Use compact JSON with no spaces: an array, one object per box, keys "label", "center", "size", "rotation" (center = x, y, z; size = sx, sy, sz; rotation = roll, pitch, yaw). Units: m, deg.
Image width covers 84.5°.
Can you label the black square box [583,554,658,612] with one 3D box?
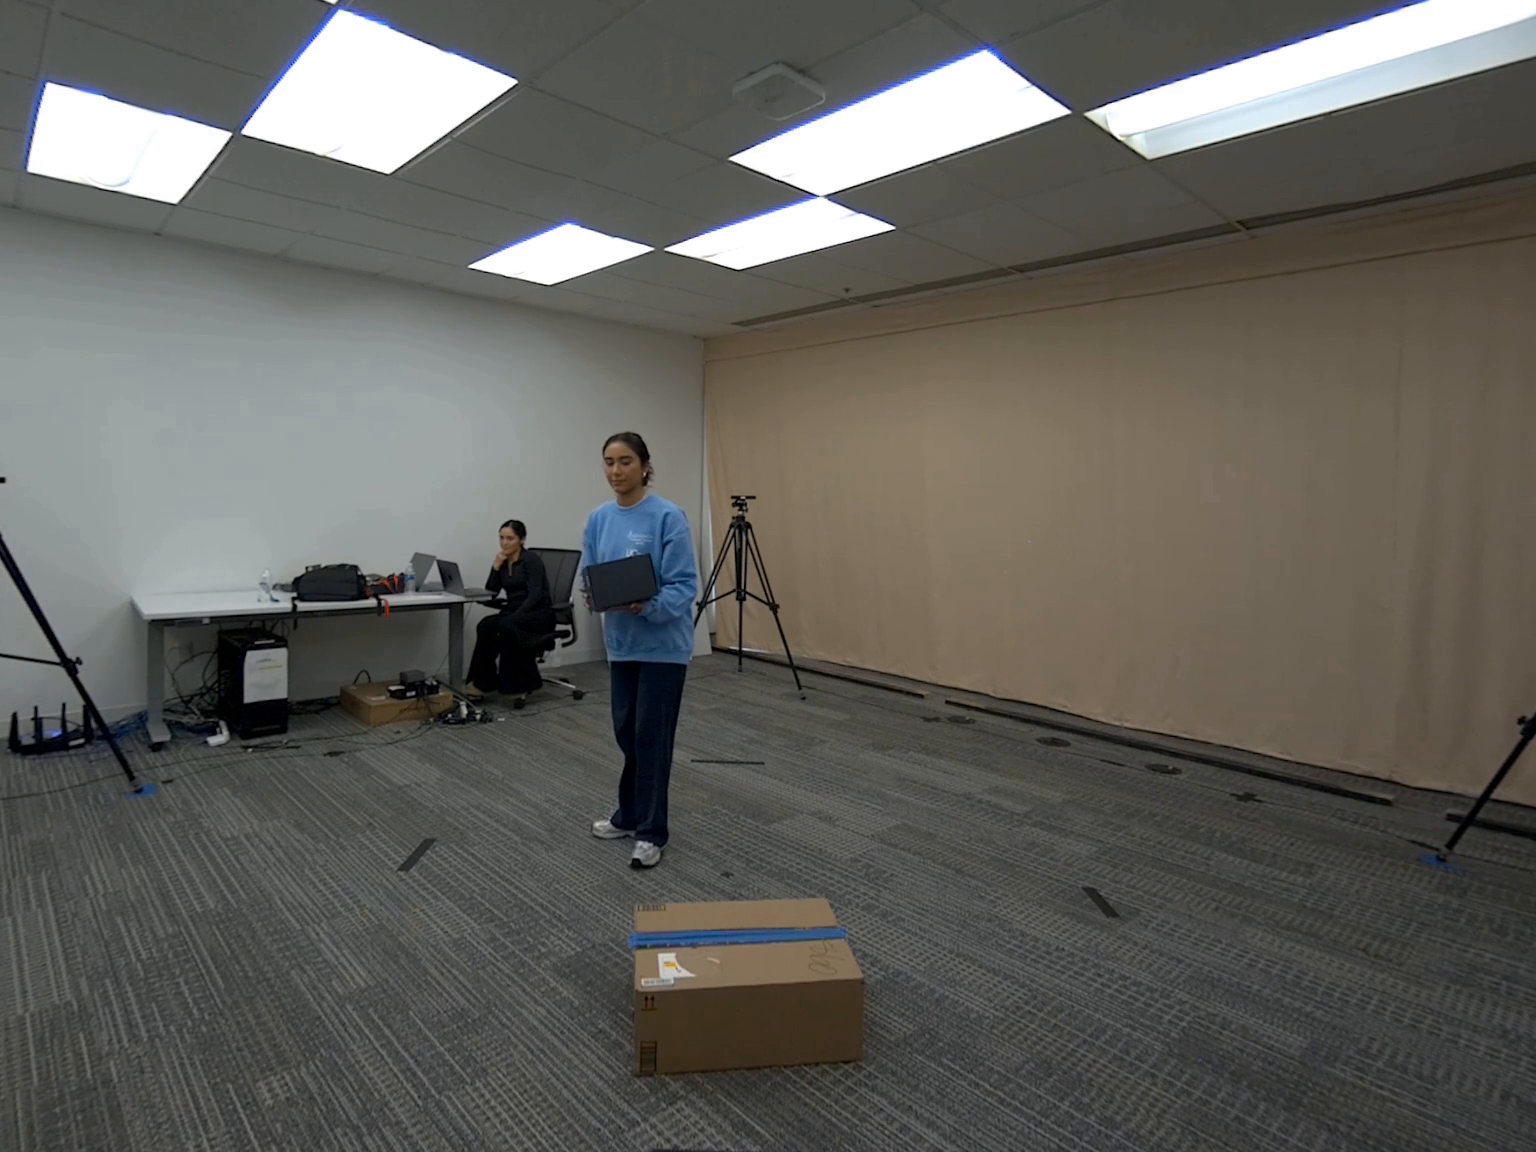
[{"label":"black square box","center":[-0.550,0.023,3.044],"size":[0.225,0.156,0.219],"rotation":[-12,0,-17]}]
